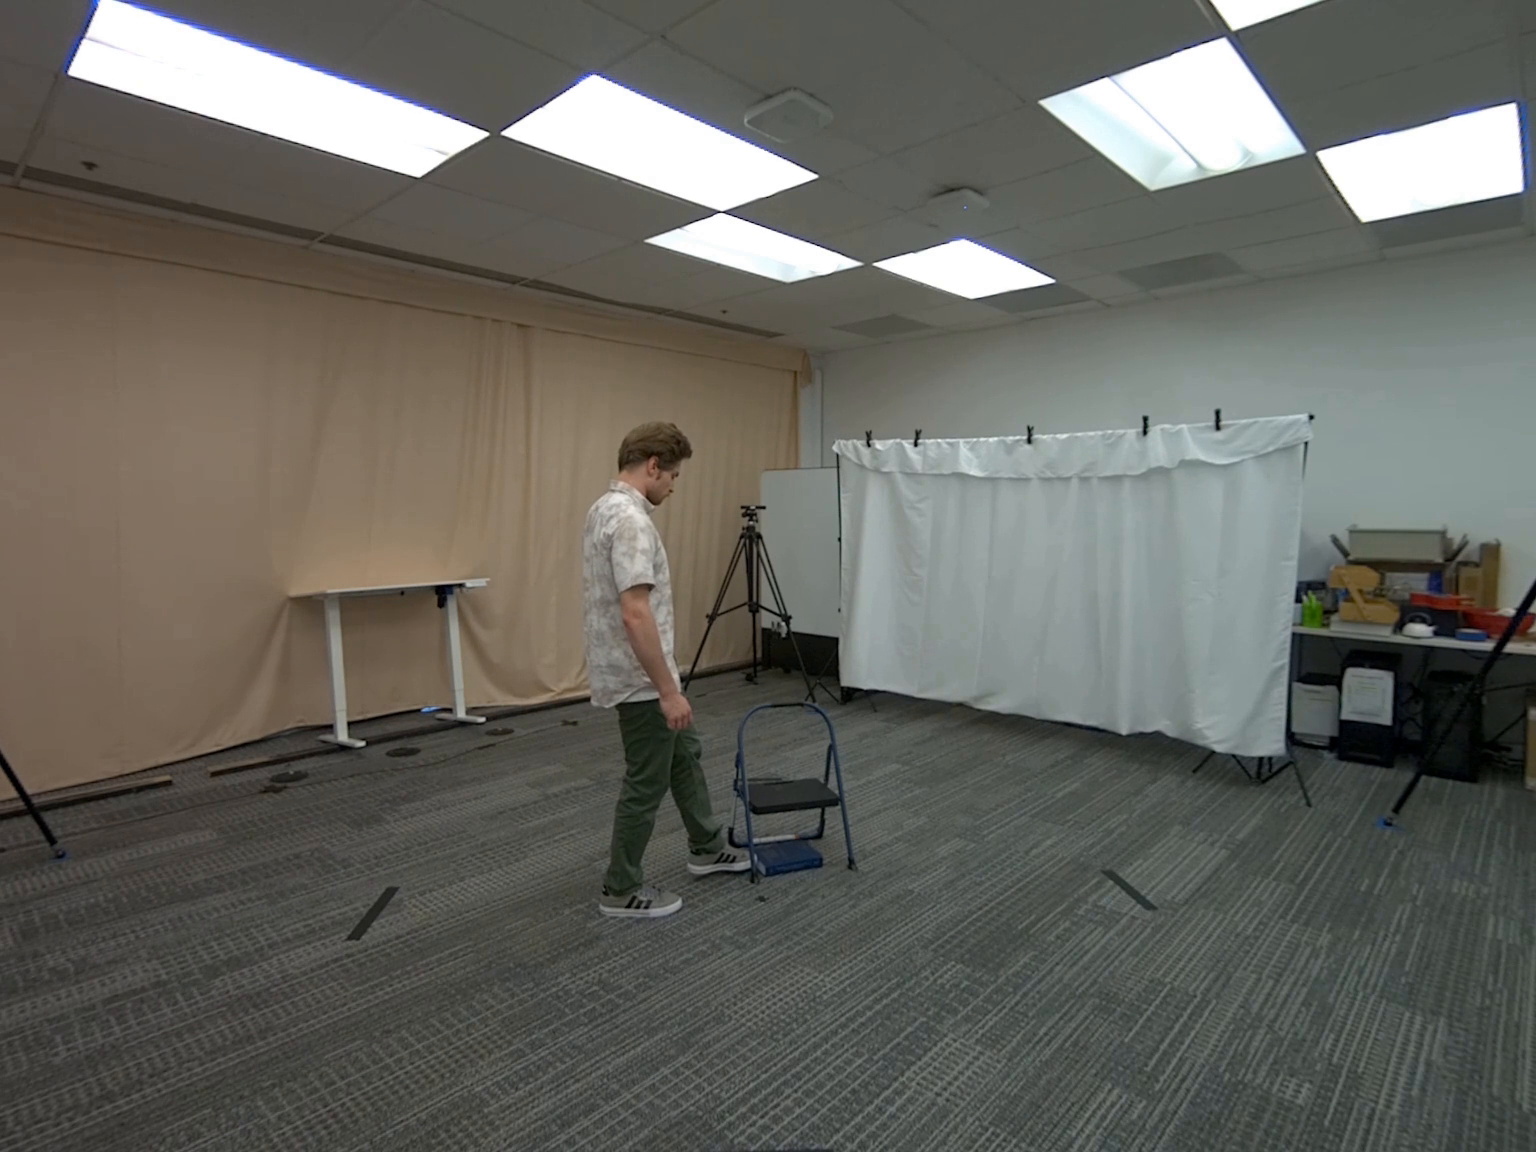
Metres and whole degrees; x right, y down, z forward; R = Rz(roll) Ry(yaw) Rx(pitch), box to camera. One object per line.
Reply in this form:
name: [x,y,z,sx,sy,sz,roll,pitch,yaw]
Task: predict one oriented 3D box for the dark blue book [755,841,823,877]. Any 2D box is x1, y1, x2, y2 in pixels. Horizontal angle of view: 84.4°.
dark blue book: [0.066,1.094,3.271,0.240,0.045,0.167,-5,6,-23]
